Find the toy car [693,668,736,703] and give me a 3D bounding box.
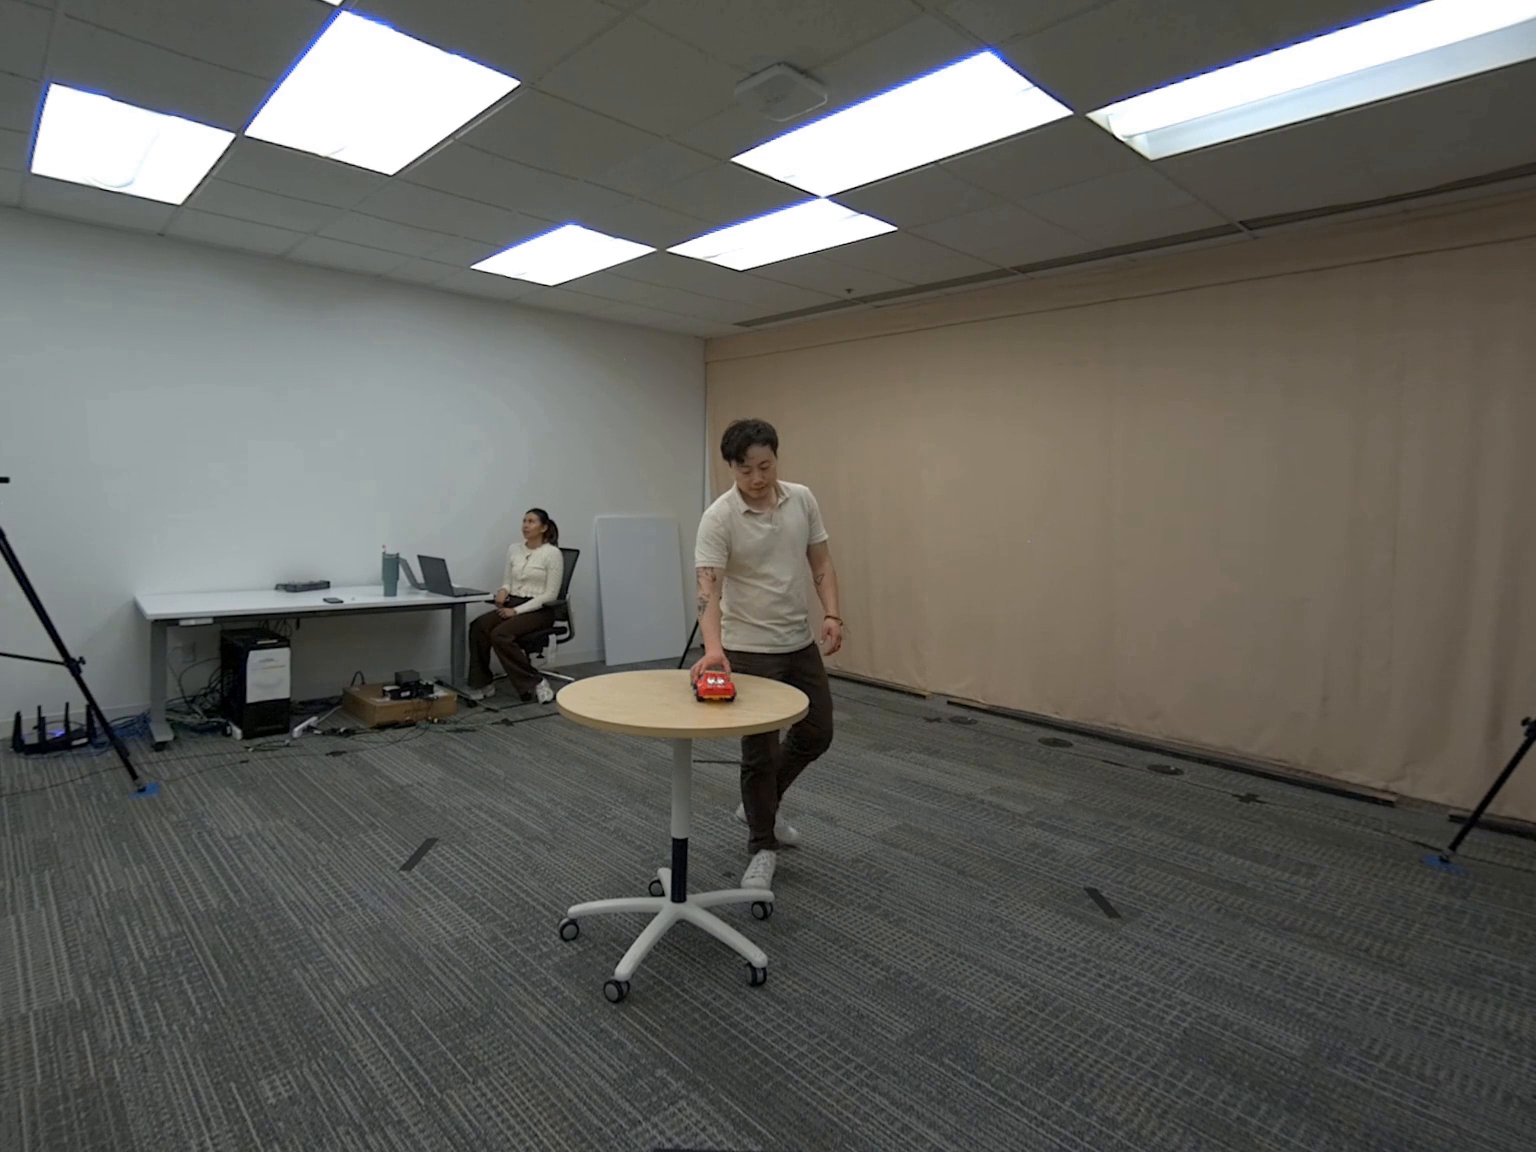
[{"bbox_3d":[-0.169,0.333,2.554,0.129,0.083,0.255,2,-6,-9],"label":"toy car"}]
